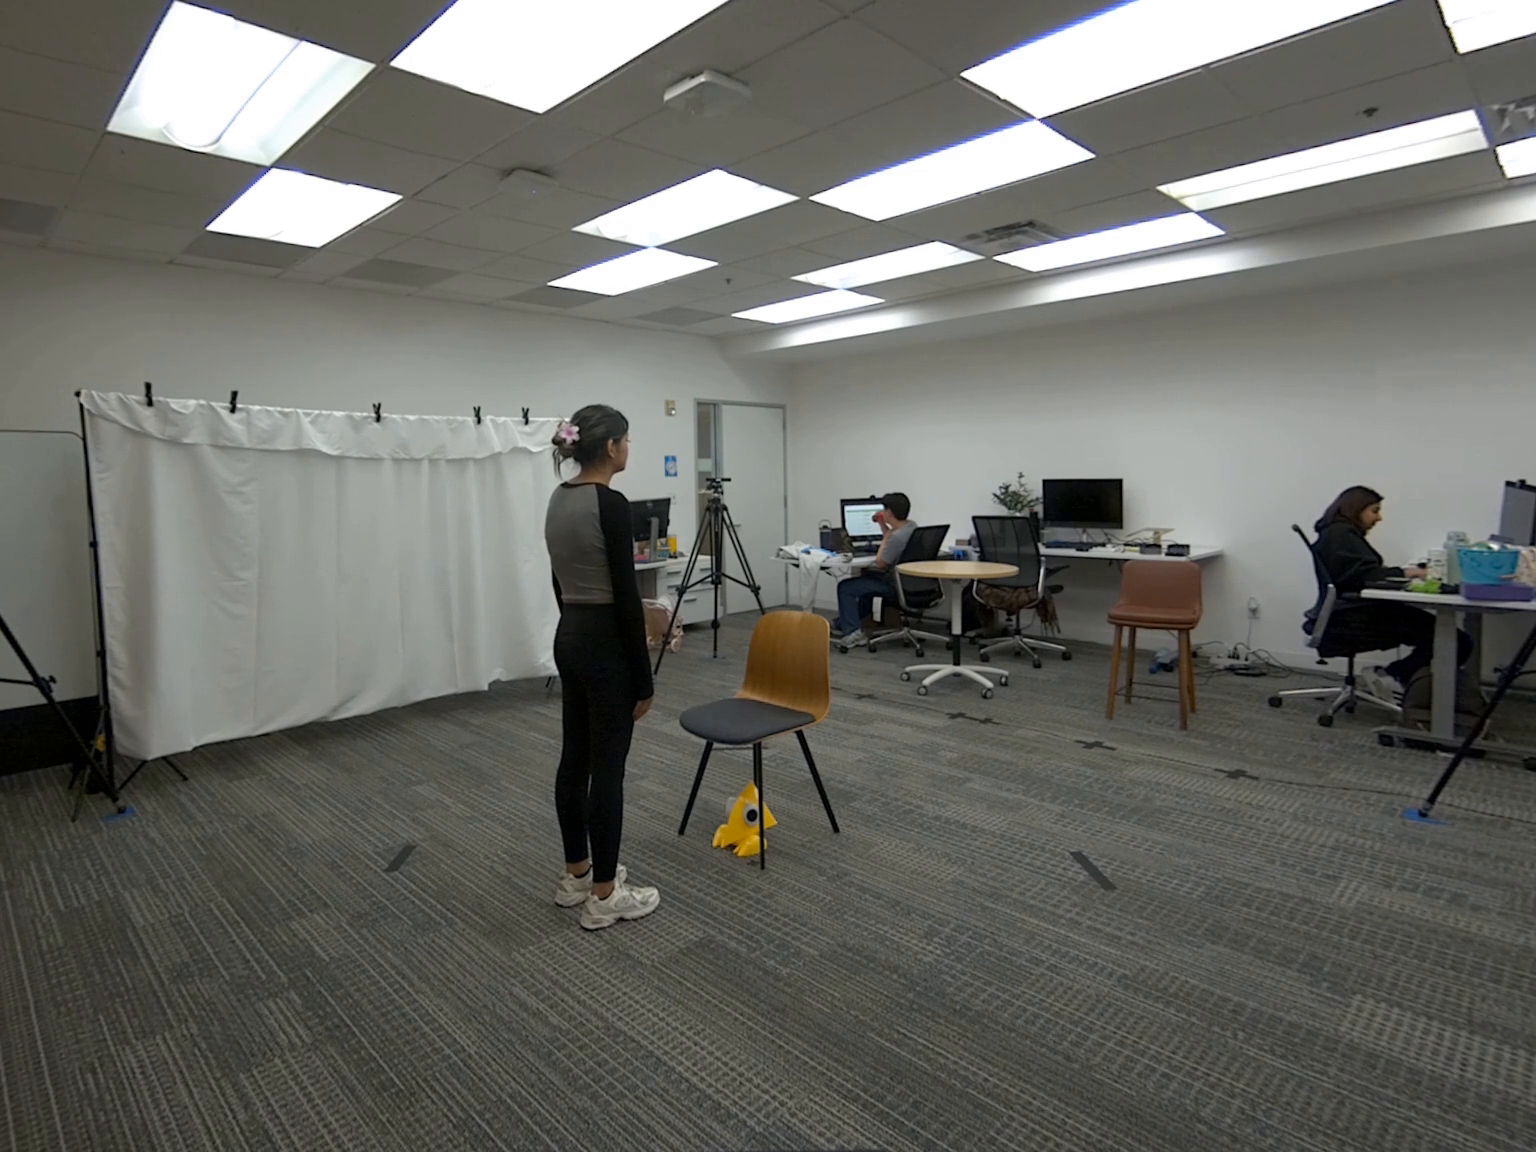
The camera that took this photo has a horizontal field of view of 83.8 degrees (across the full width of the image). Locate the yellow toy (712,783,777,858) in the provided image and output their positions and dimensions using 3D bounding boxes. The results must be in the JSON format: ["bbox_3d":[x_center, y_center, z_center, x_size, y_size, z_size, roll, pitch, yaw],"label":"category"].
[{"bbox_3d":[-0.098,0.916,3.259,0.211,0.230,0.188,5,6,42],"label":"yellow toy"}]
